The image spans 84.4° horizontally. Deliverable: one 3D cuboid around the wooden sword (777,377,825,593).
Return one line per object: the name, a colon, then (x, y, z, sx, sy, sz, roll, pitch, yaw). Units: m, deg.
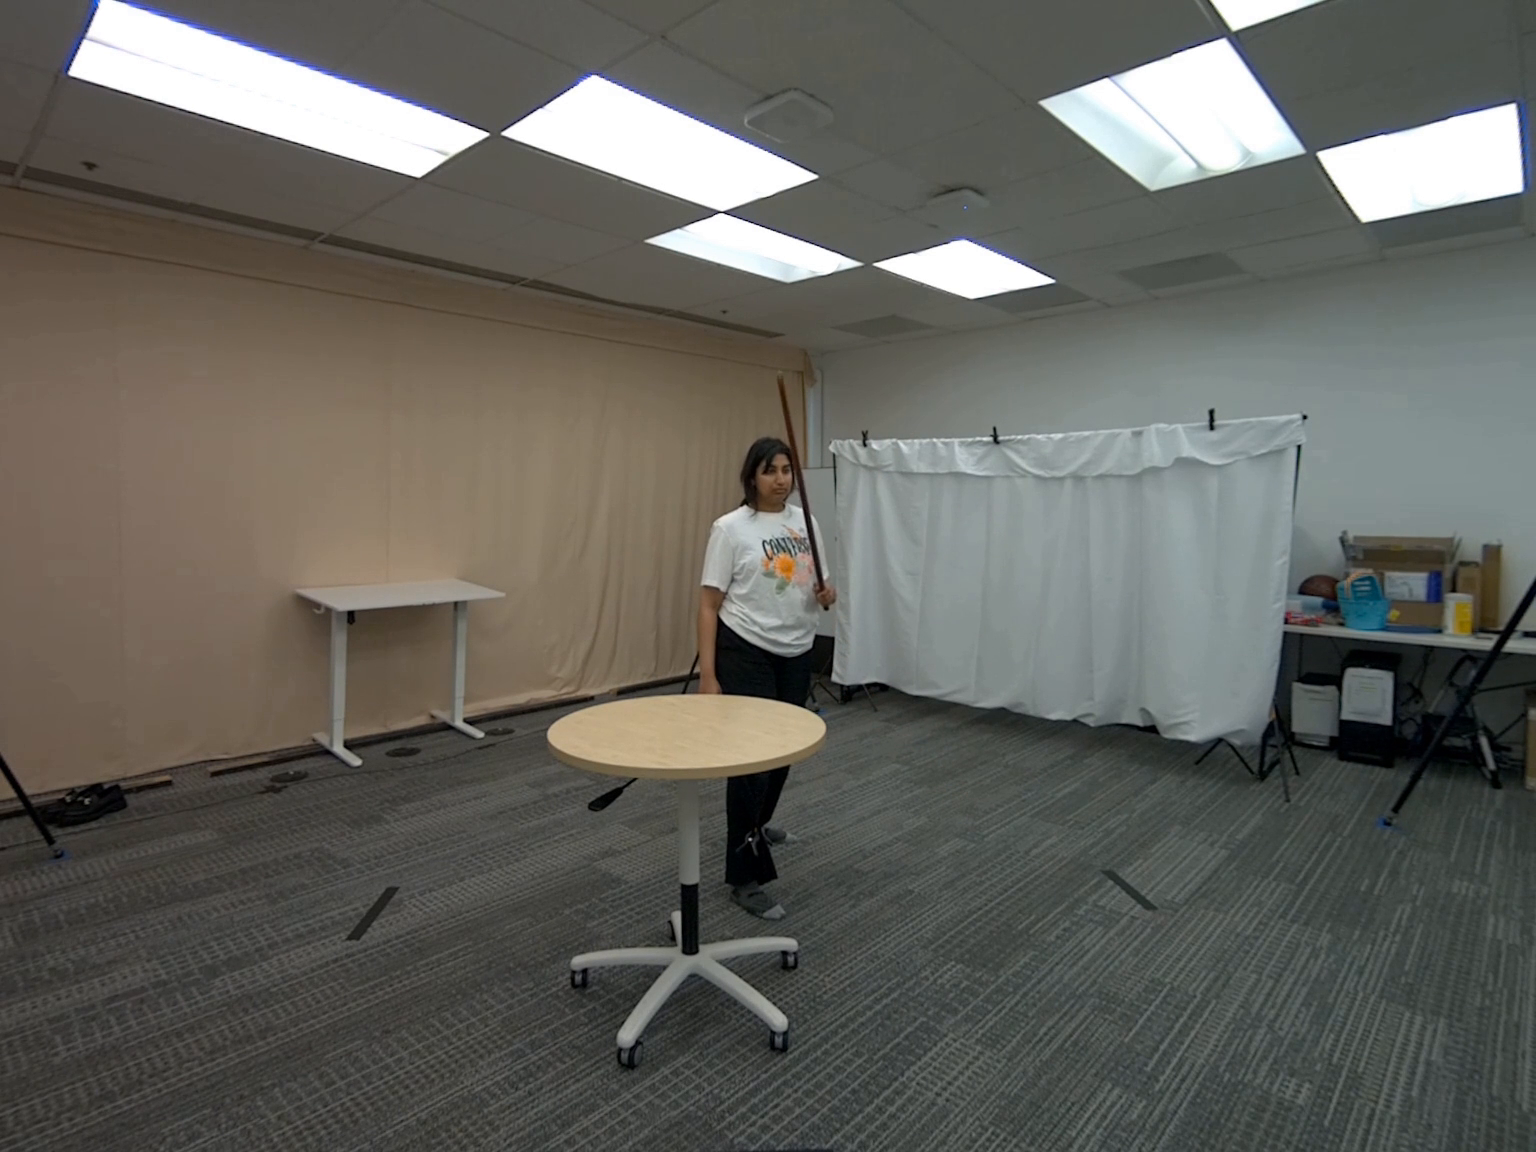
wooden sword: (0.125, -0.219, 2.746, 0.051, 0.997, 0.025, -35, 47, -20)
